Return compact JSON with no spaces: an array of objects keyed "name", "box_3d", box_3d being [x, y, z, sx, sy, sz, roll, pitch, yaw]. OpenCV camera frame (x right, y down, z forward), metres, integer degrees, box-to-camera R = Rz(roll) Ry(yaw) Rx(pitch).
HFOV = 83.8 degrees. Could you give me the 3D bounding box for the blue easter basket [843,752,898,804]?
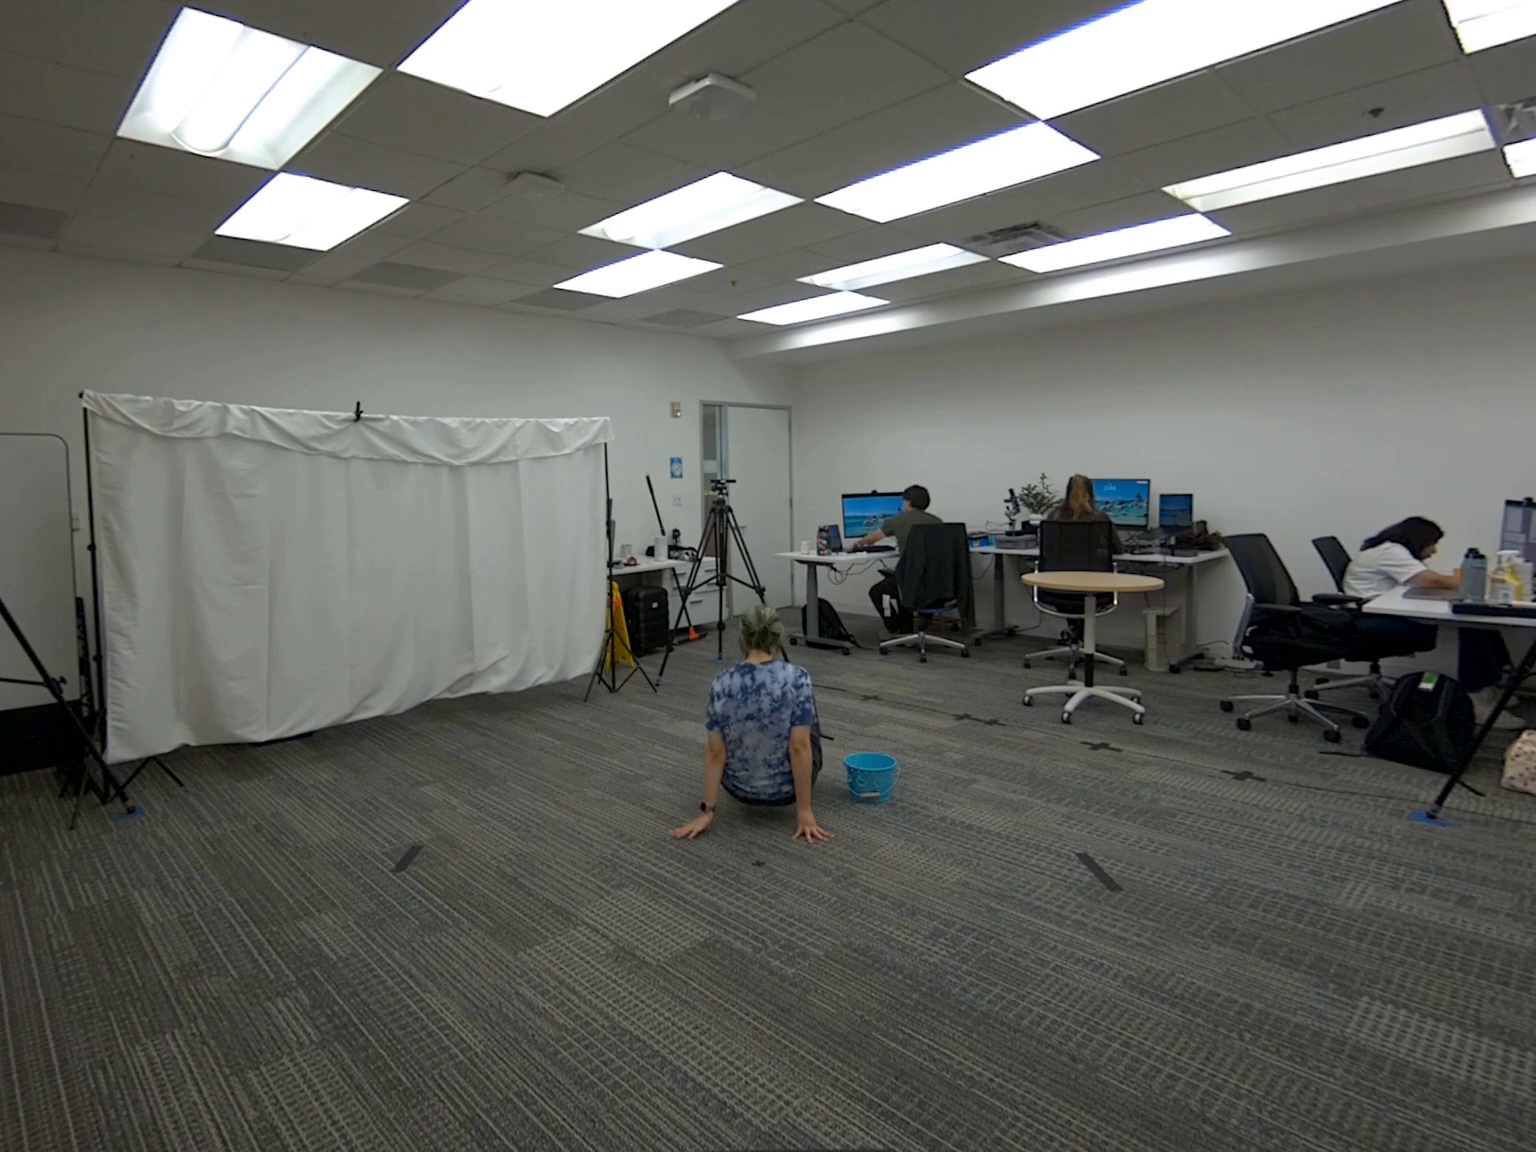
[{"name":"blue easter basket","box_3d":[0.447,0.881,3.759,0.243,0.155,0.245,-1,5,-2]}]
